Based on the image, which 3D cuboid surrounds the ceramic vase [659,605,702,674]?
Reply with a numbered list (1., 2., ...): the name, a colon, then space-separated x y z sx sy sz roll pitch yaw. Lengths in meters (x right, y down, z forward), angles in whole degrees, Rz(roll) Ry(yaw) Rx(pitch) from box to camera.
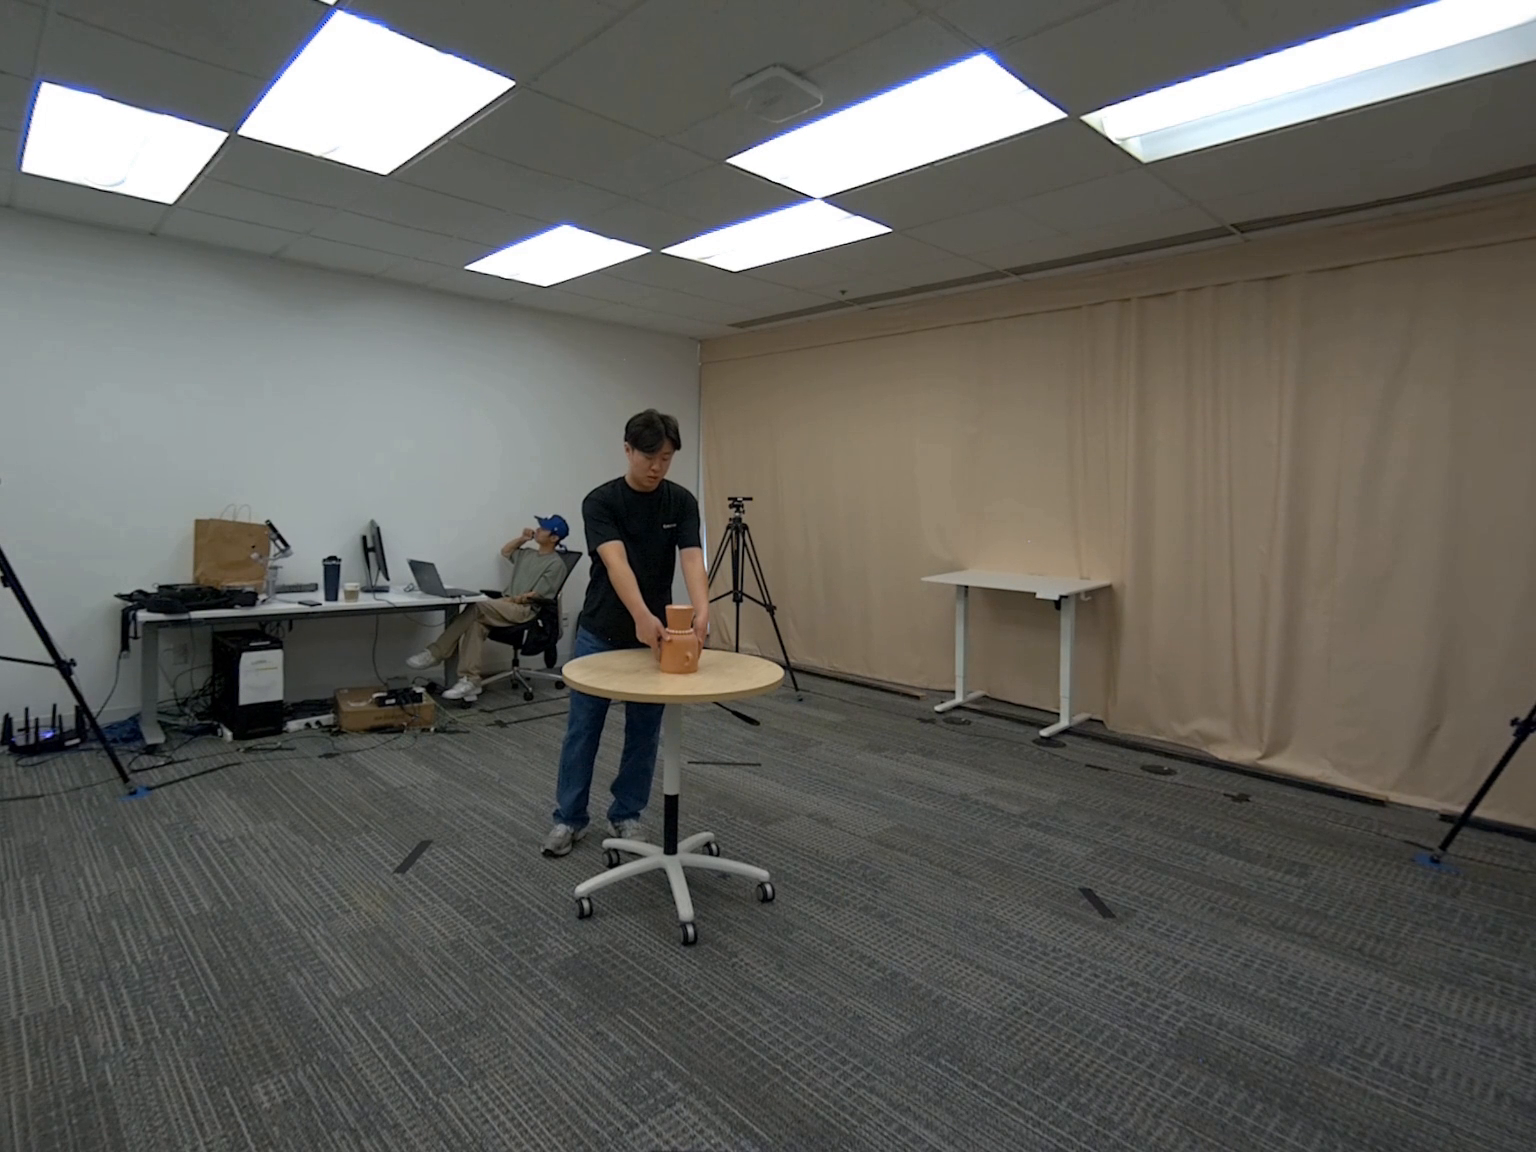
1. ceramic vase: -0.320 0.216 2.899 0.161 0.219 0.133 0 4 18
